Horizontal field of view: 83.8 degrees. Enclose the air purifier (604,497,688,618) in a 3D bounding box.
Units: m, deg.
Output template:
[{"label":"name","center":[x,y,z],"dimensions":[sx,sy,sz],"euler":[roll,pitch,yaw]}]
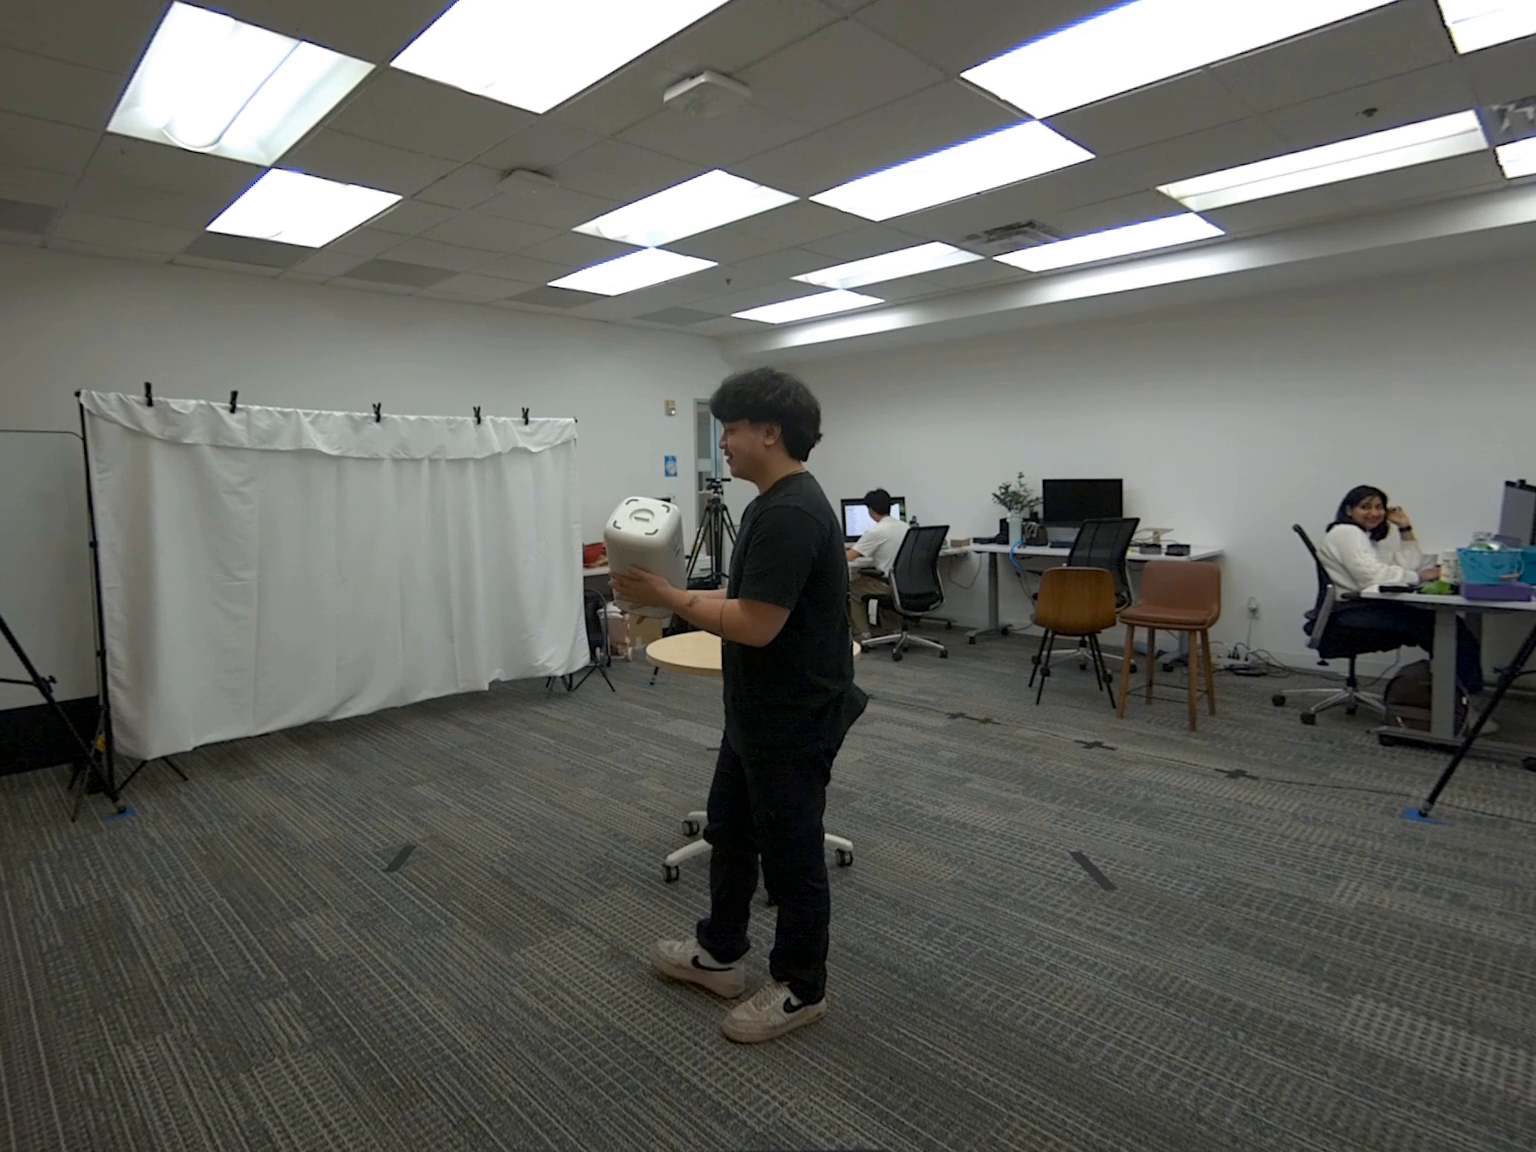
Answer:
[{"label":"air purifier","center":[-0.298,-0.048,2.139],"dimensions":[0.174,0.258,0.173],"euler":[13,45,12]}]
